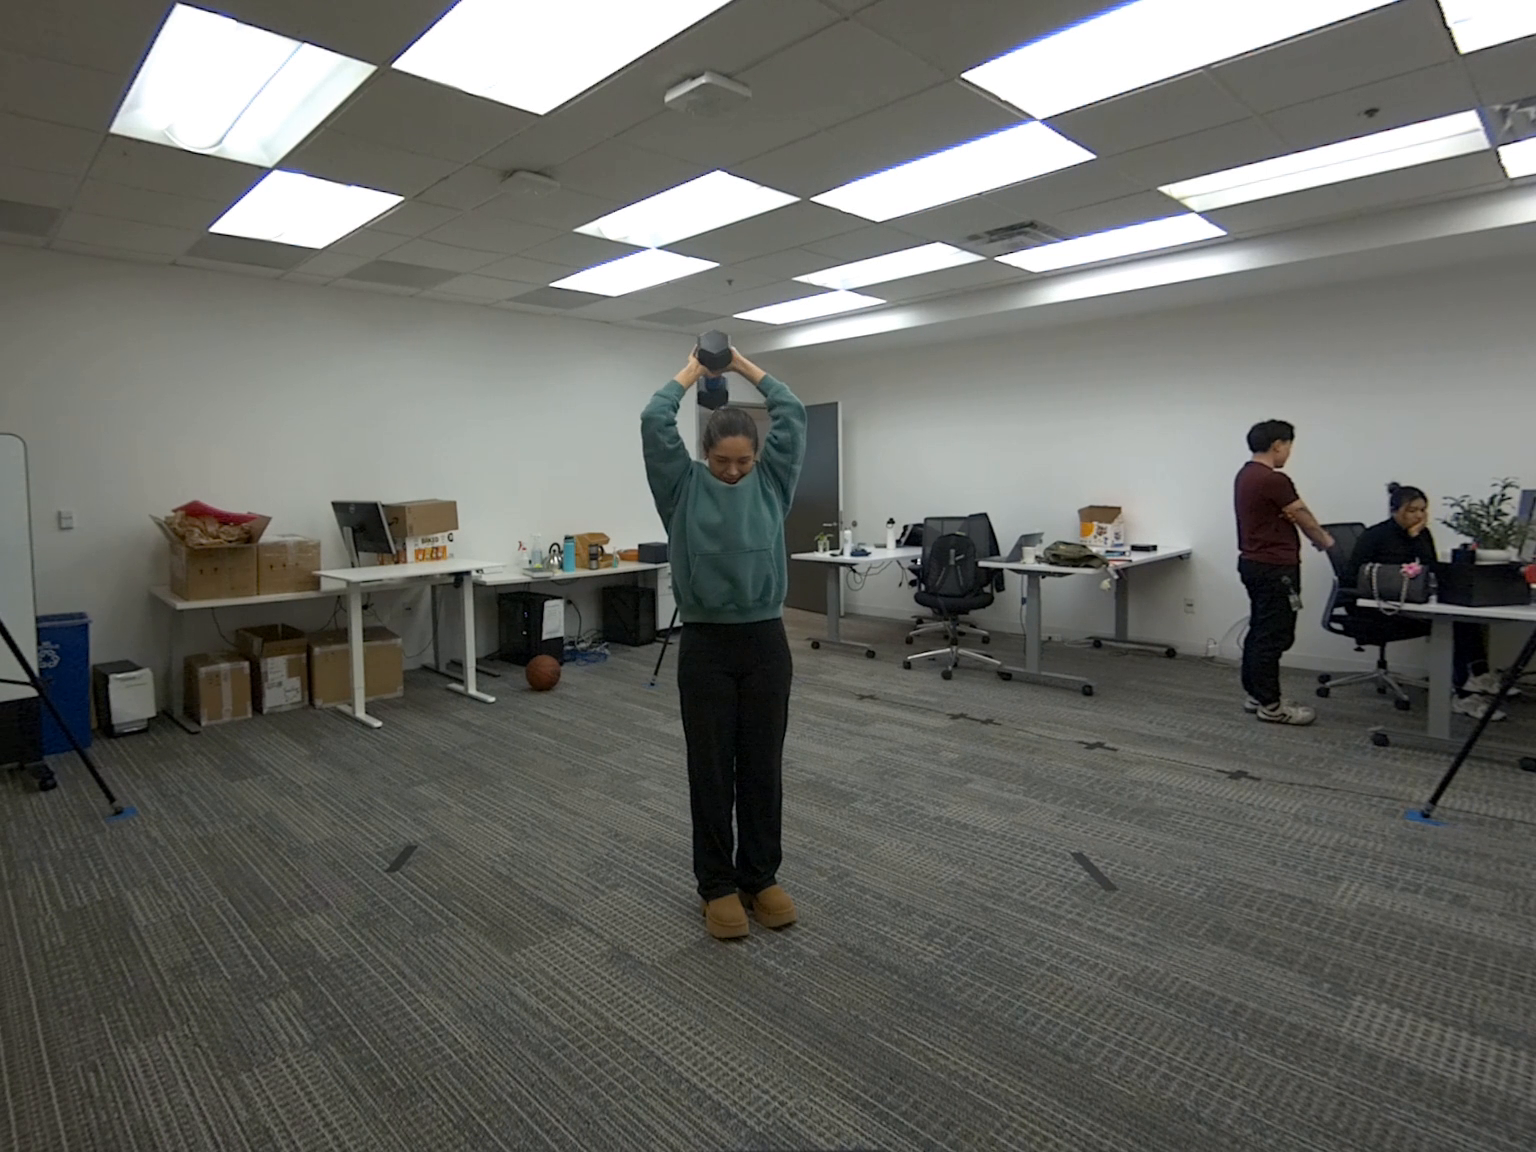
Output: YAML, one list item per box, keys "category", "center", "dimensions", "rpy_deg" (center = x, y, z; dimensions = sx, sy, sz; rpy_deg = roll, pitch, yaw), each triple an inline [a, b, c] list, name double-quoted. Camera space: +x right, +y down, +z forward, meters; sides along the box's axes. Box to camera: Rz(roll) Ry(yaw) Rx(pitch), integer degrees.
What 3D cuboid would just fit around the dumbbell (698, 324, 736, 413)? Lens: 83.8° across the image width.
- category: "dumbbell"
  center: [-0.173, -0.679, 2.818]
  dimensions: [0.108, 0.126, 0.288]
  rpy_deg: [-1, -28, -5]
